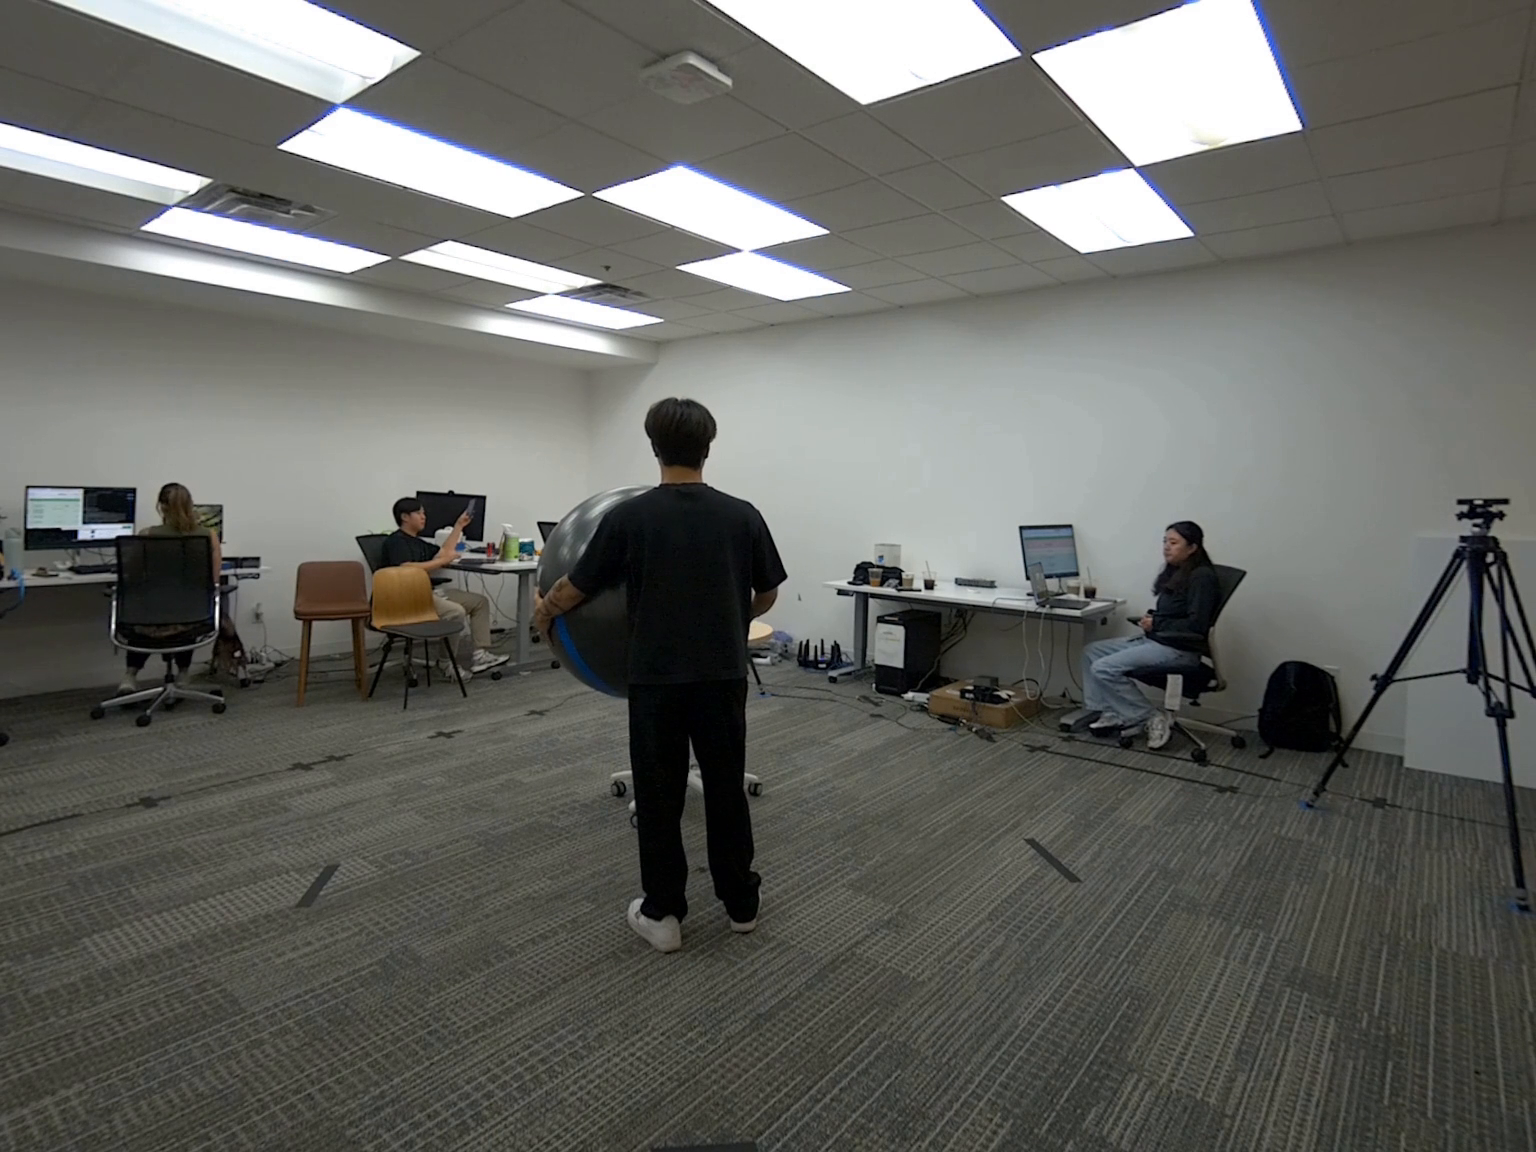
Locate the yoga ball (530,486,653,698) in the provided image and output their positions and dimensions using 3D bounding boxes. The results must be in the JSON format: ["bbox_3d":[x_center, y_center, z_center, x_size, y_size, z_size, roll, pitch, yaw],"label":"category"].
[{"bbox_3d":[-0.465,0.057,3.043,0.757,0.755,0.762,1,4,-2],"label":"yoga ball"}]
